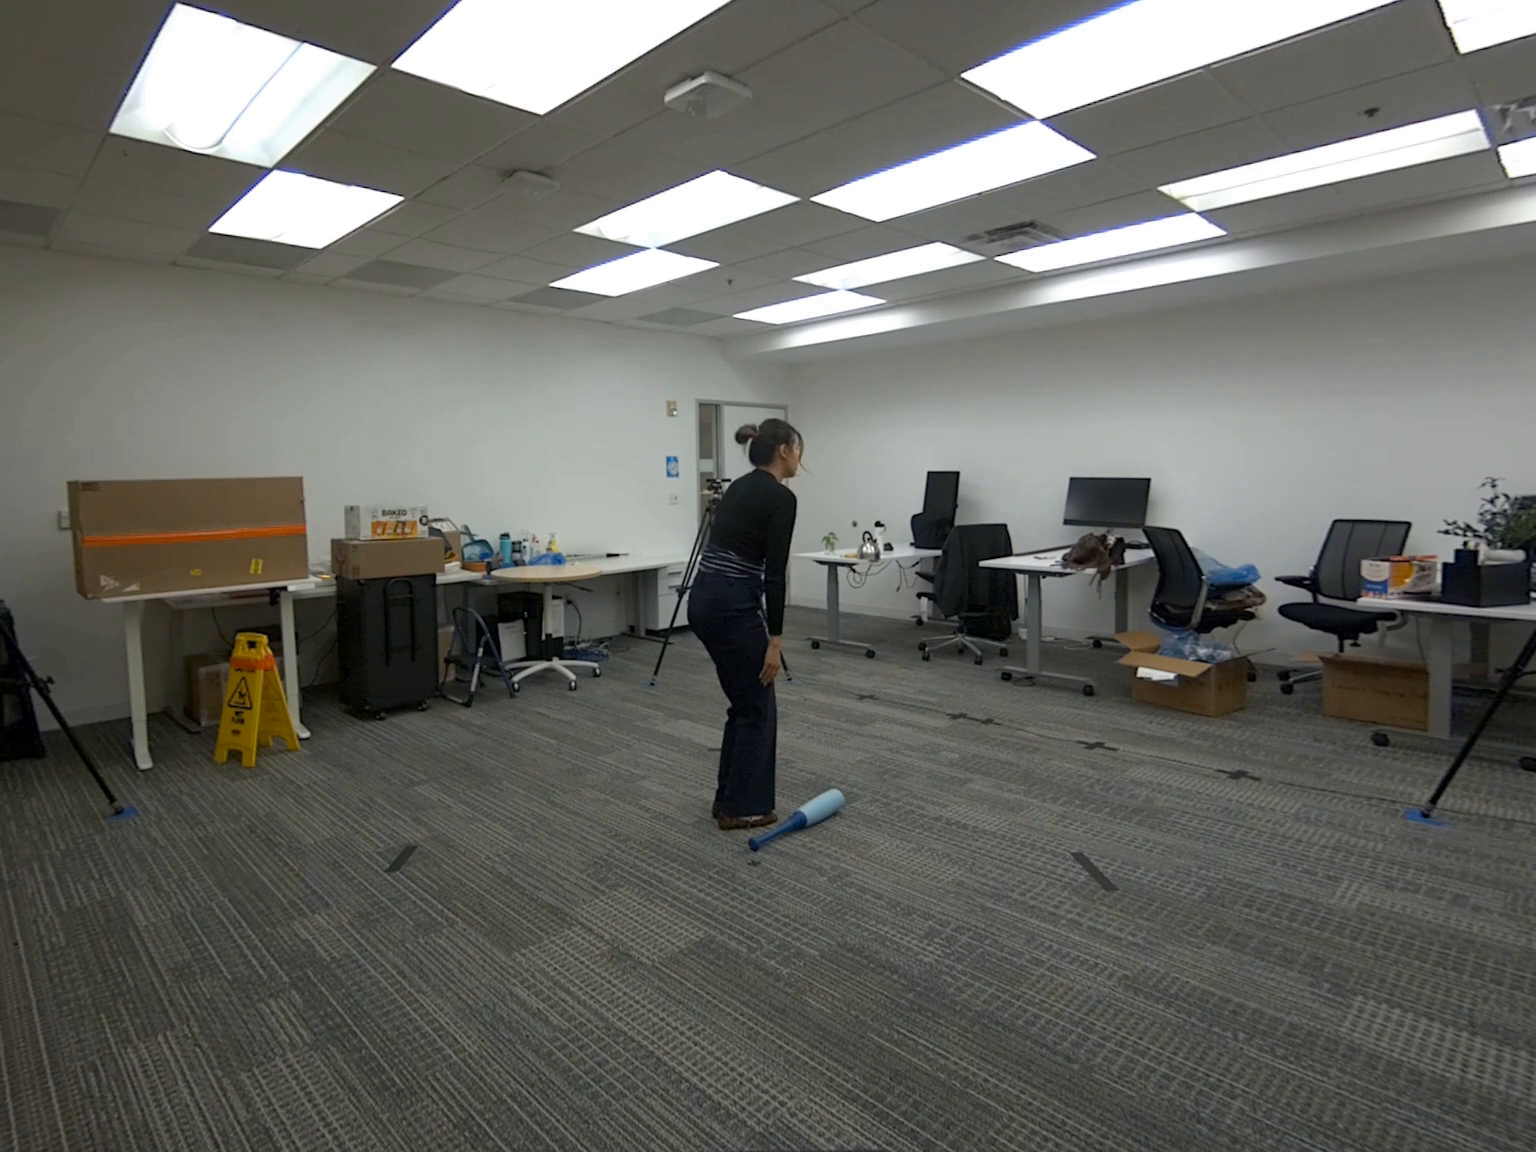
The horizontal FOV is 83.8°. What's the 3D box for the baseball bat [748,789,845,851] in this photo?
[{"bbox_3d":[0.115,0.975,3.395,0.092,0.088,0.530,3,11,42],"label":"baseball bat"}]
